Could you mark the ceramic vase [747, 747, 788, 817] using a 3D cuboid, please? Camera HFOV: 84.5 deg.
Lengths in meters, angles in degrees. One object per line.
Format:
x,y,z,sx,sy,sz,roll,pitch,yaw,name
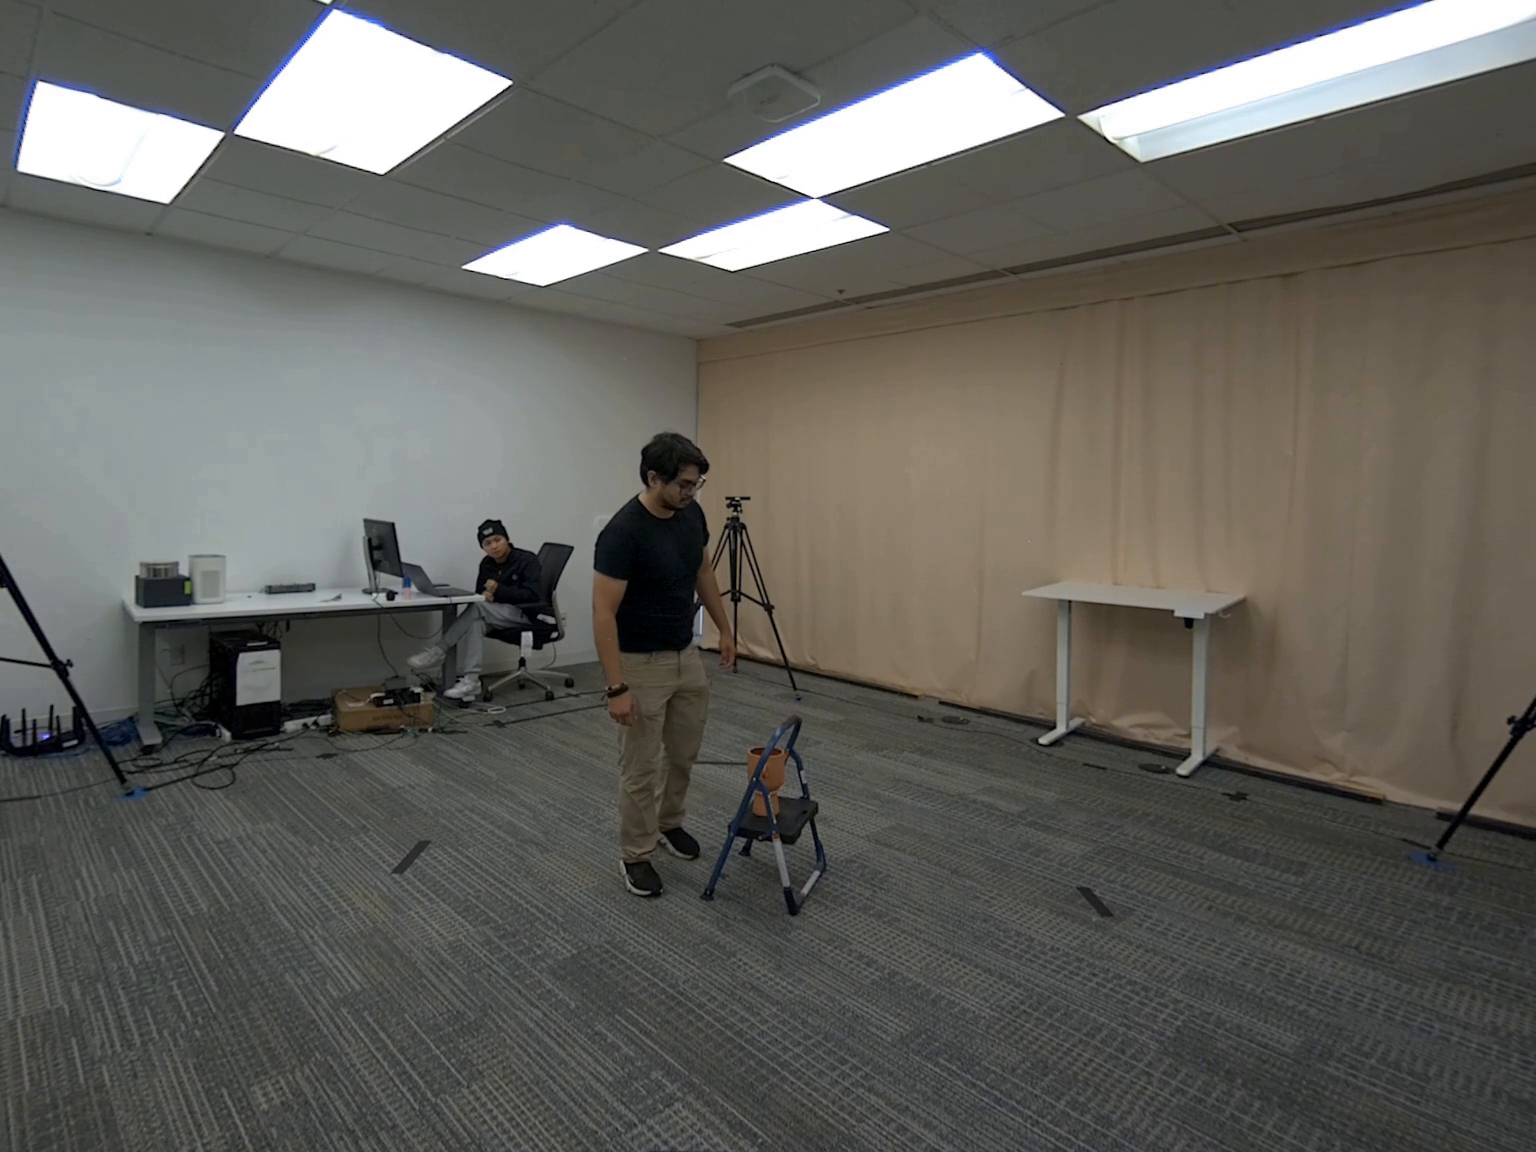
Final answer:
-0.019,0.746,3.041,0.138,0.219,0.155,3,5,45,ceramic vase
